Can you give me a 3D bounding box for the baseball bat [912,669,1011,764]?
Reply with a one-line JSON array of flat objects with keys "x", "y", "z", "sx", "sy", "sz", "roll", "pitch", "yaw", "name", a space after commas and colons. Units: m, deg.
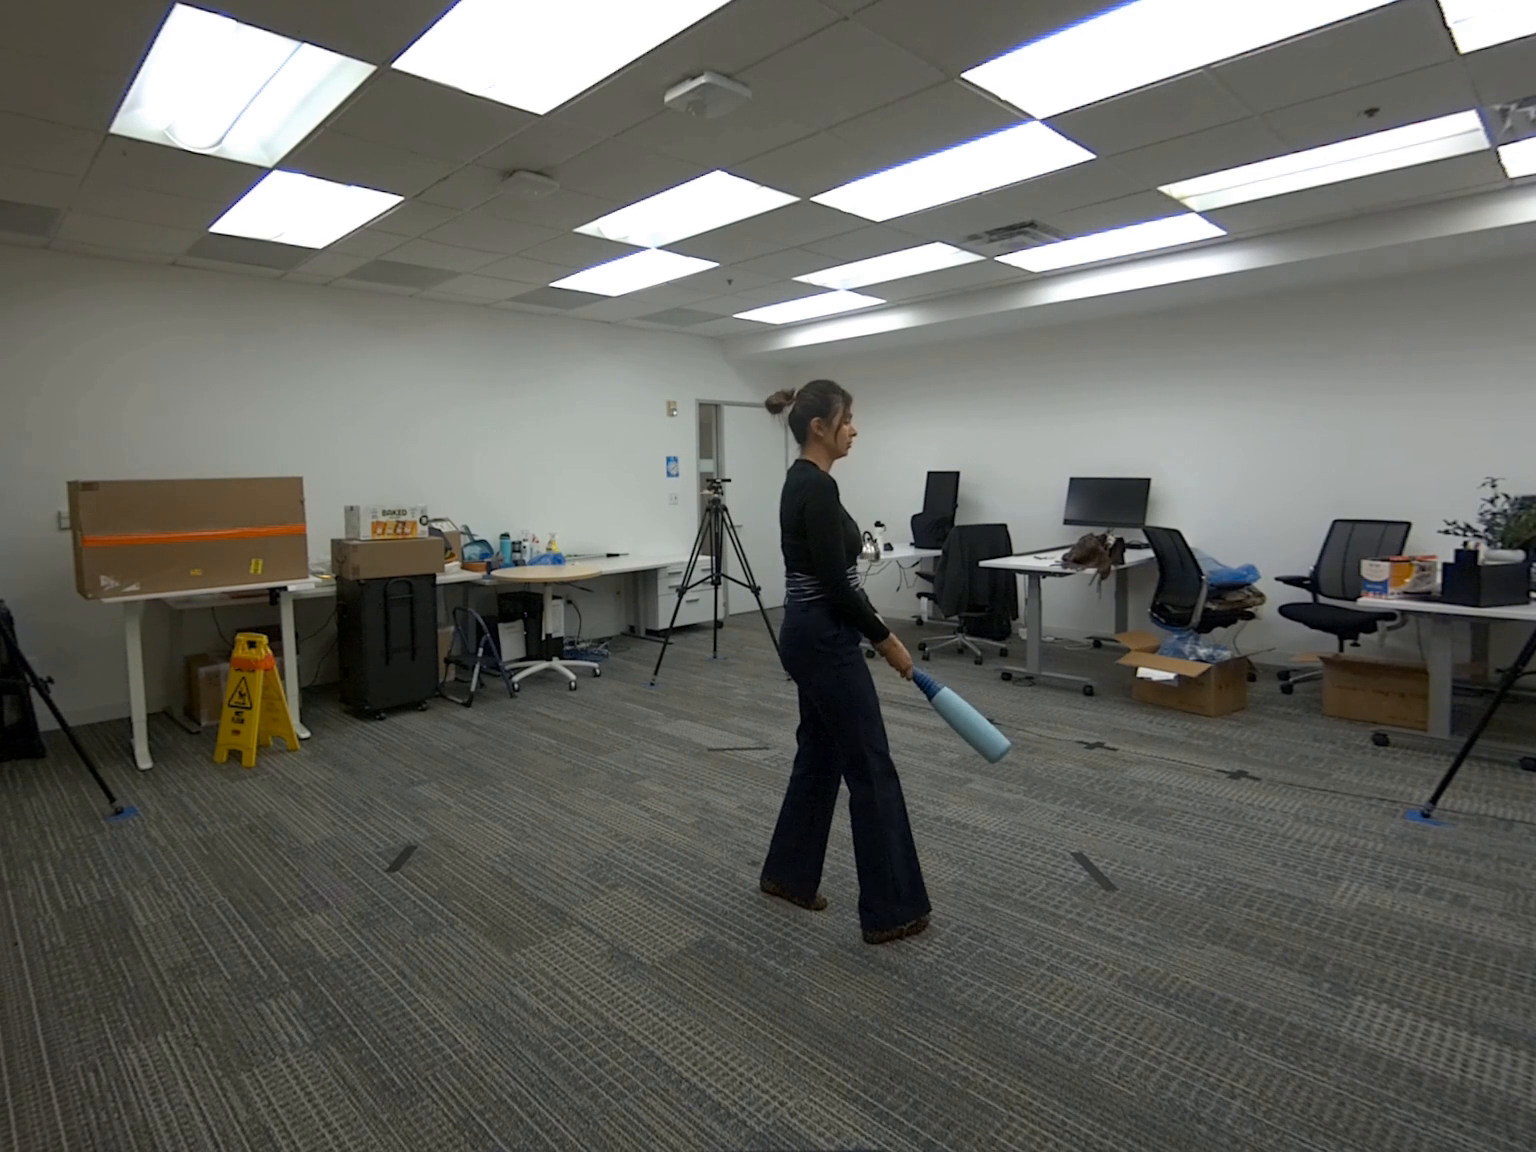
[{"x": 0.504, "y": 0.333, "z": 2.599, "sx": 0.560, "sy": 0.088, "sz": 0.087, "roll": 43, "pitch": 26, "yaw": 25, "name": "baseball bat"}]
